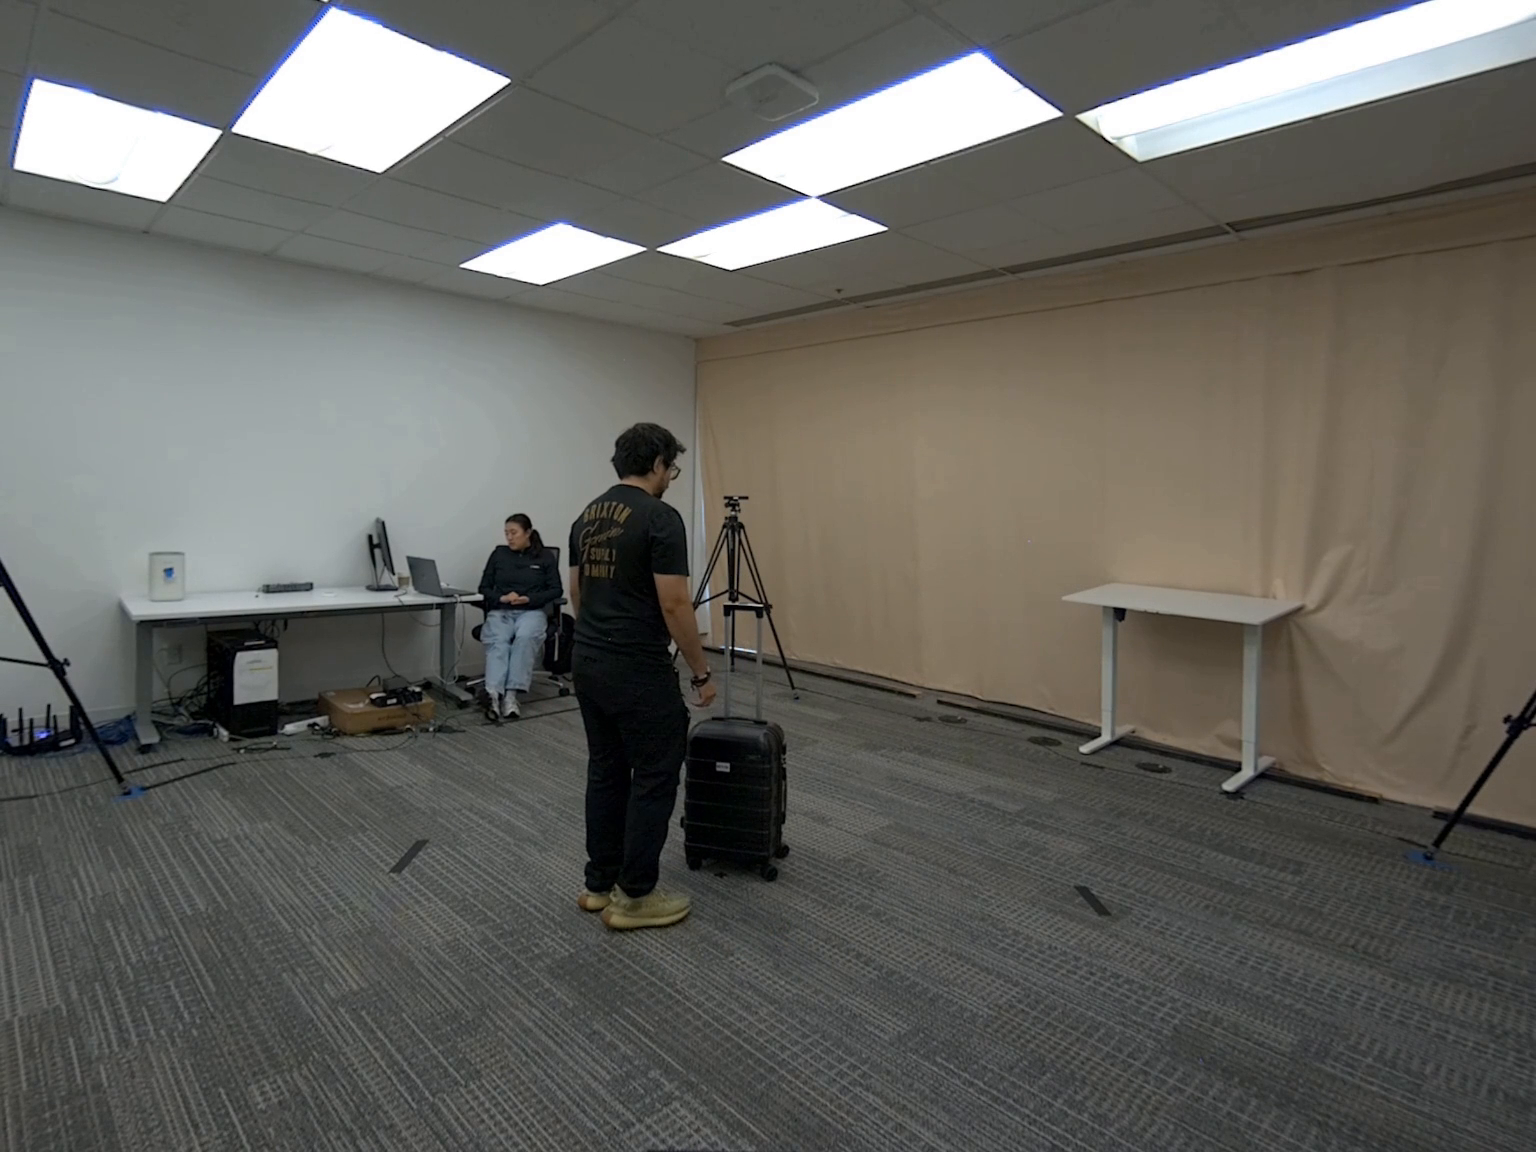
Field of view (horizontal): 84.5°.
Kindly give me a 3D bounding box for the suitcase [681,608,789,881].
[{"bbox_3d":[-0.124,0.621,3.171,0.389,0.974,0.255,1,6,15],"label":"suitcase"}]
